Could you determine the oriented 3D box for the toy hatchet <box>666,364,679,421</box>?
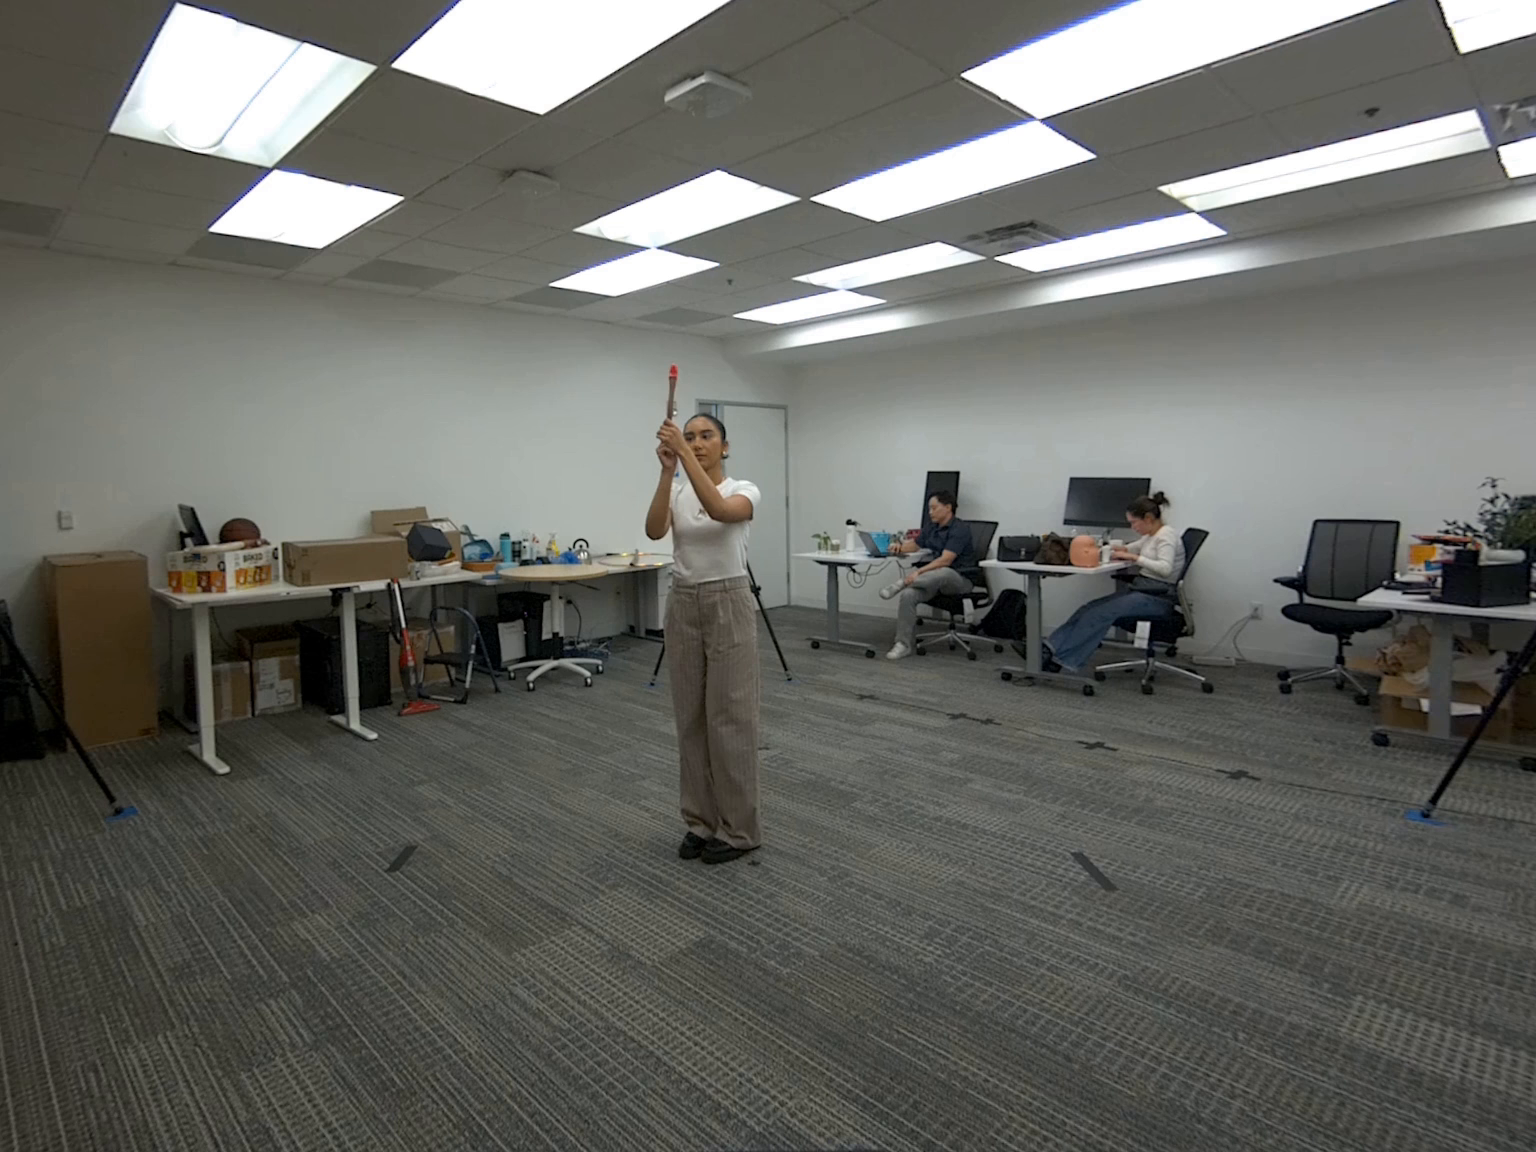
[{"bbox_3d":[-0.341,-0.607,2.989,0.029,0.269,0.132,7,6,-3],"label":"toy hatchet"}]
